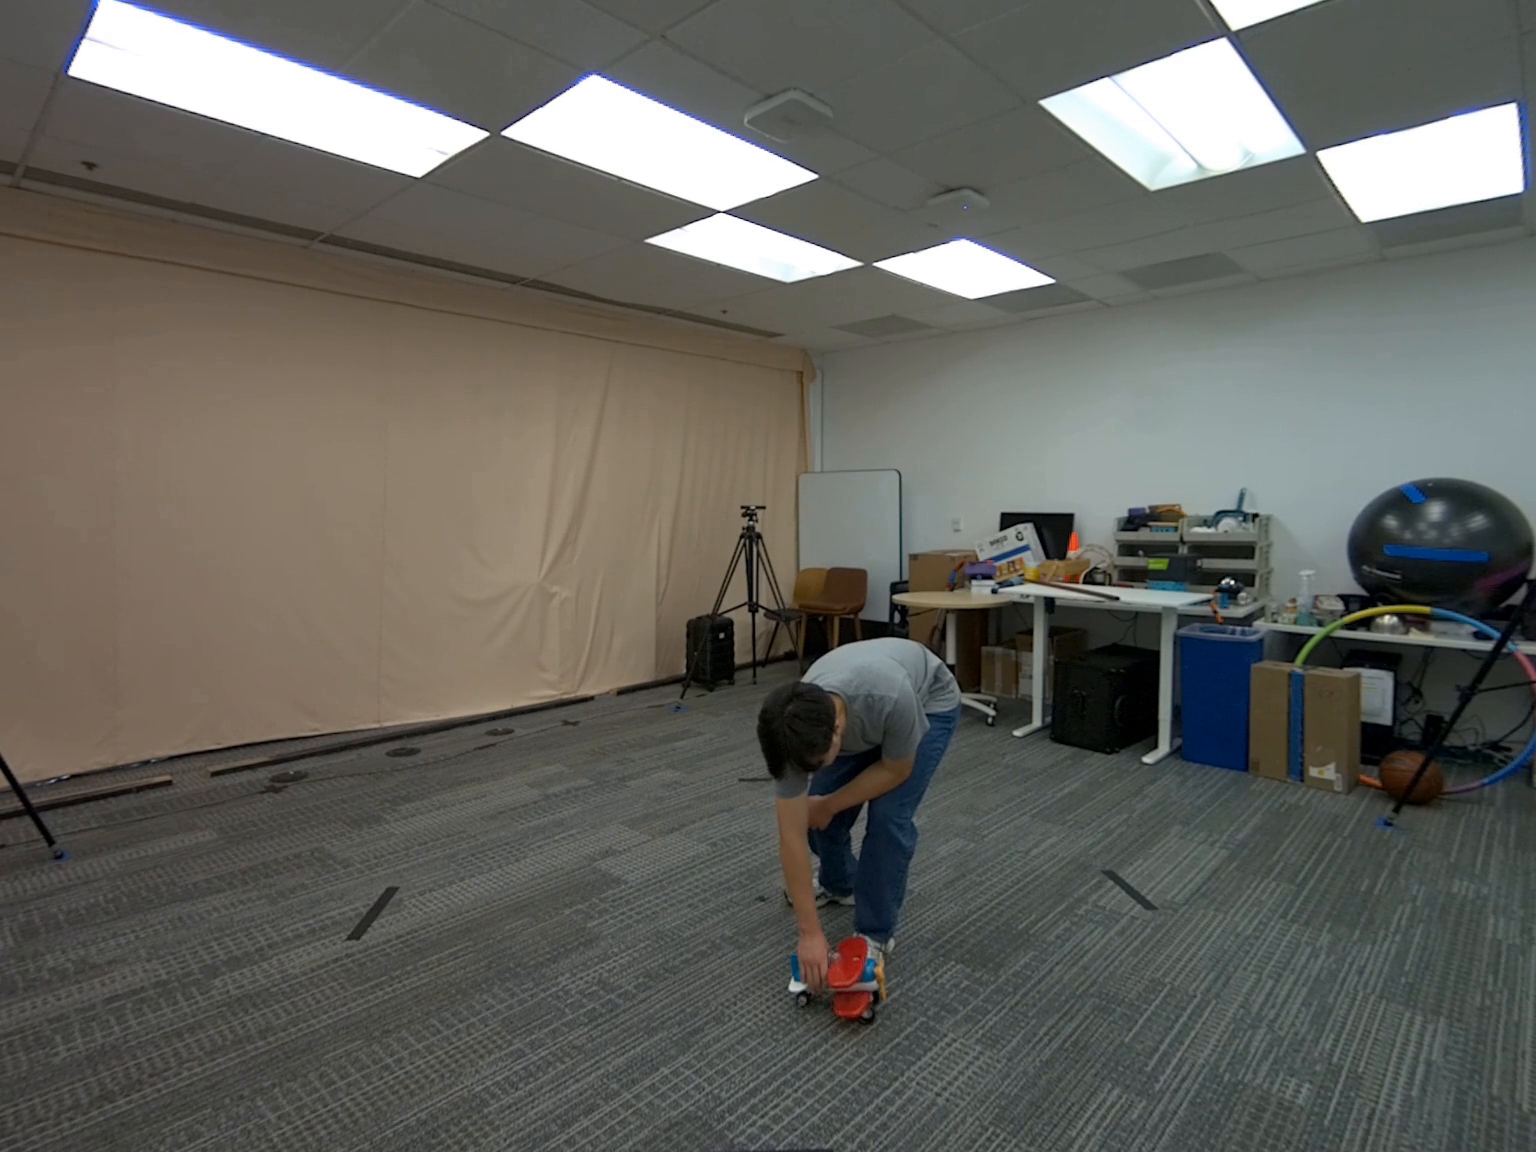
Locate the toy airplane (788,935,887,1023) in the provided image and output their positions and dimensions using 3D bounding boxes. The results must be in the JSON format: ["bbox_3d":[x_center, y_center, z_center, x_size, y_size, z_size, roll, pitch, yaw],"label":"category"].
[{"bbox_3d":[0.186,1.120,2.319,0.256,0.156,0.255,1,4,-12],"label":"toy airplane"}]
